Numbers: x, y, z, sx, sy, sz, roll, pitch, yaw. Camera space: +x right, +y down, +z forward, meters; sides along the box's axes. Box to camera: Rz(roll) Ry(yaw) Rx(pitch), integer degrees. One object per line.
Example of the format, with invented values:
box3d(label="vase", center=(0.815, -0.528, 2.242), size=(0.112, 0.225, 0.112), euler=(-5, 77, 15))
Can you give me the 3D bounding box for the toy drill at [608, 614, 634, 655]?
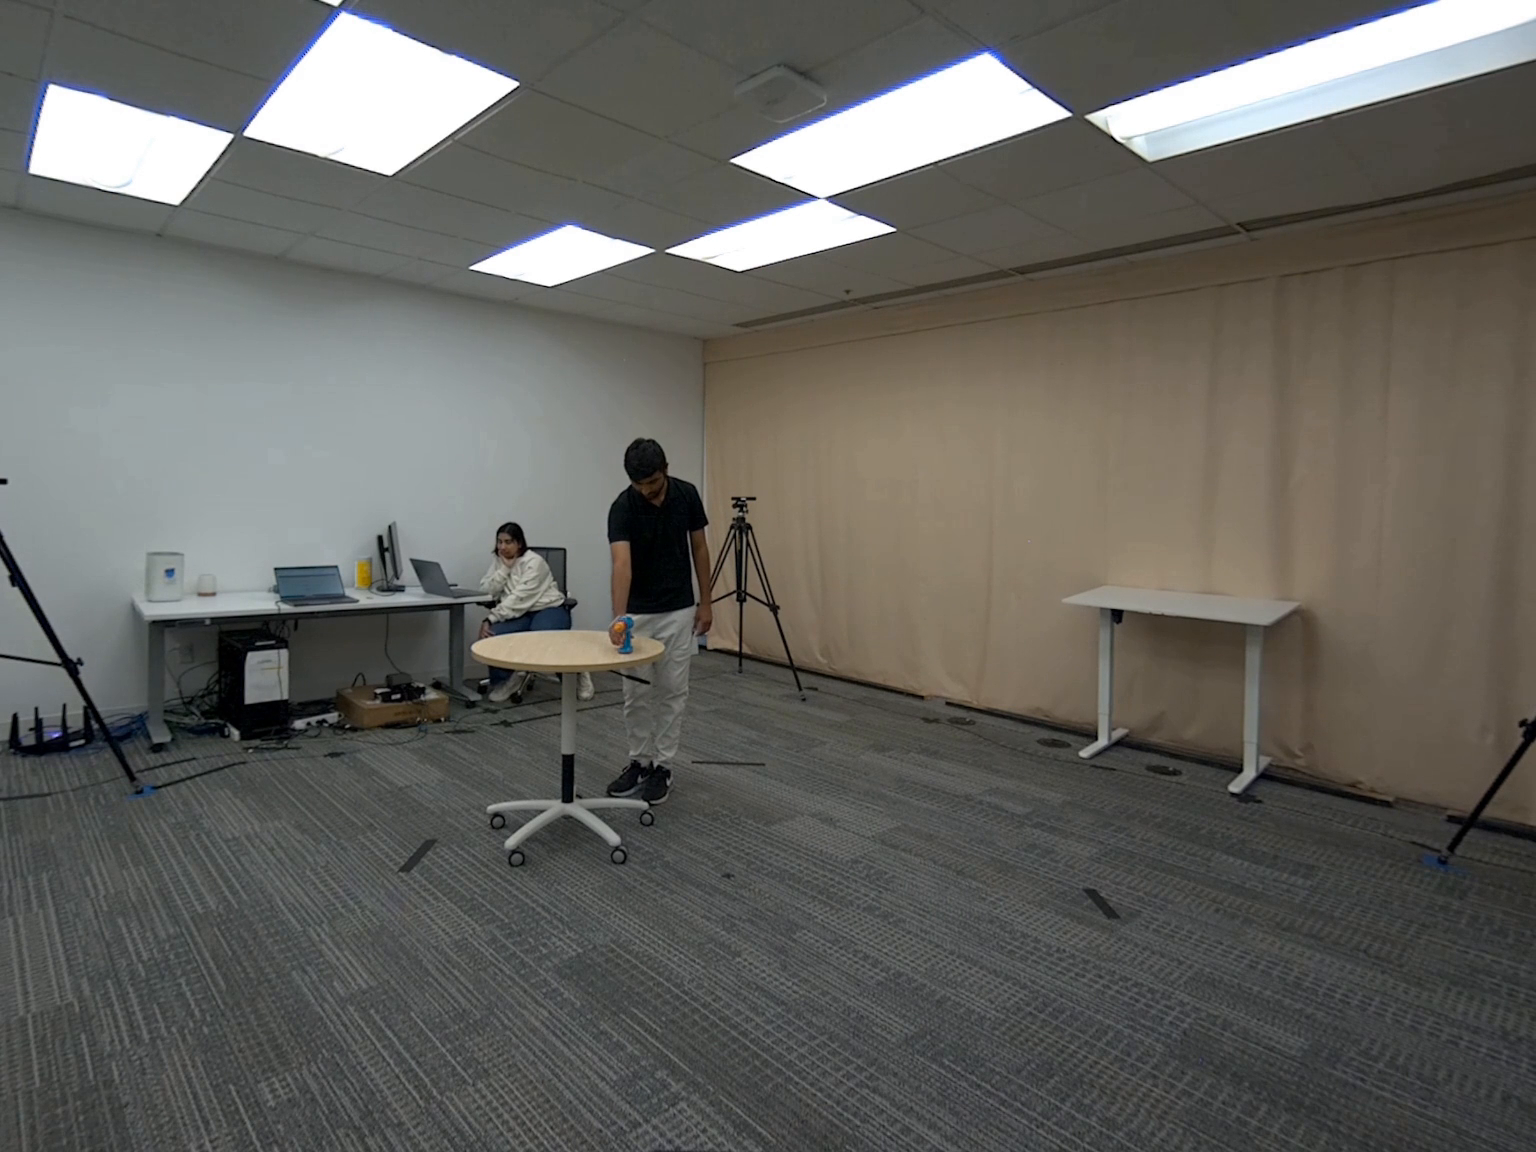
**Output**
box3d(label="toy drill", center=(-0.578, 0.233, 3.264), size=(0.061, 0.146, 0.169), euler=(0, 4, 5))
